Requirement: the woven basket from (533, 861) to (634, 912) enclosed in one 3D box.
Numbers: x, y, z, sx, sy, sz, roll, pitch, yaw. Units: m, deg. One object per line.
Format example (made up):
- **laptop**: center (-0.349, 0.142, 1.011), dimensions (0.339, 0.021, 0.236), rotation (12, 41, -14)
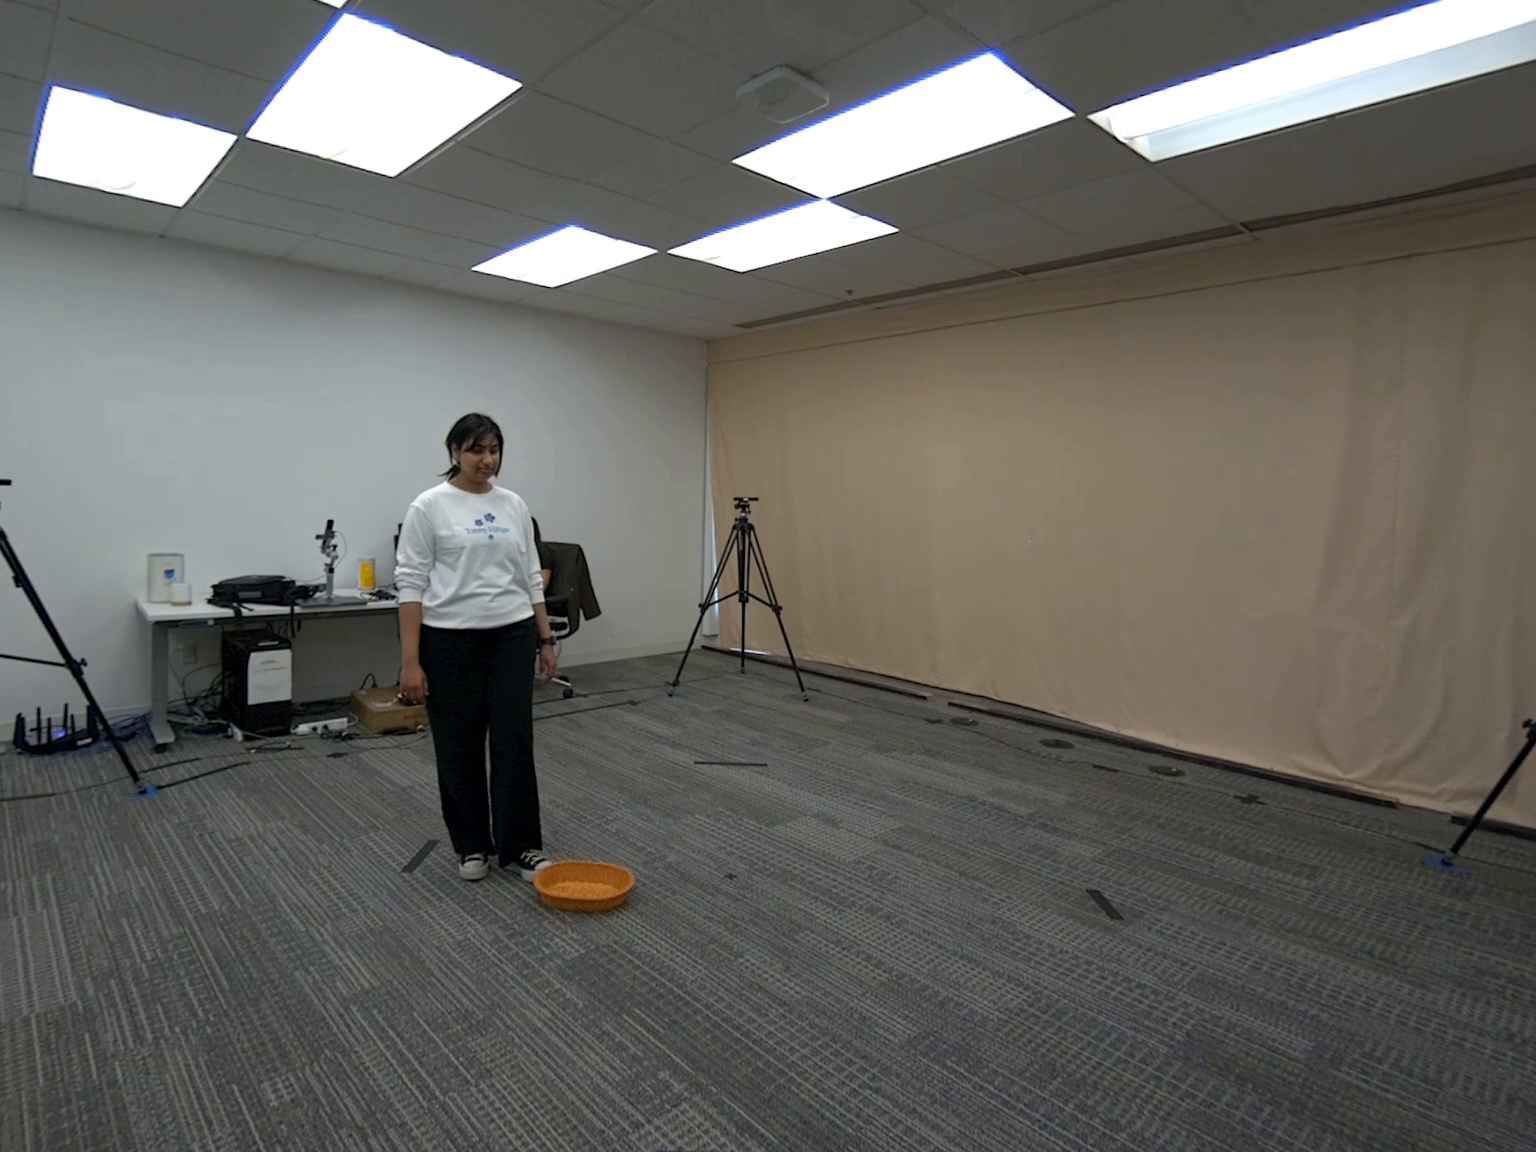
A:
- **woven basket**: center (-0.638, 1.078, 2.900), dimensions (0.353, 0.073, 0.252), rotation (3, 8, 8)
